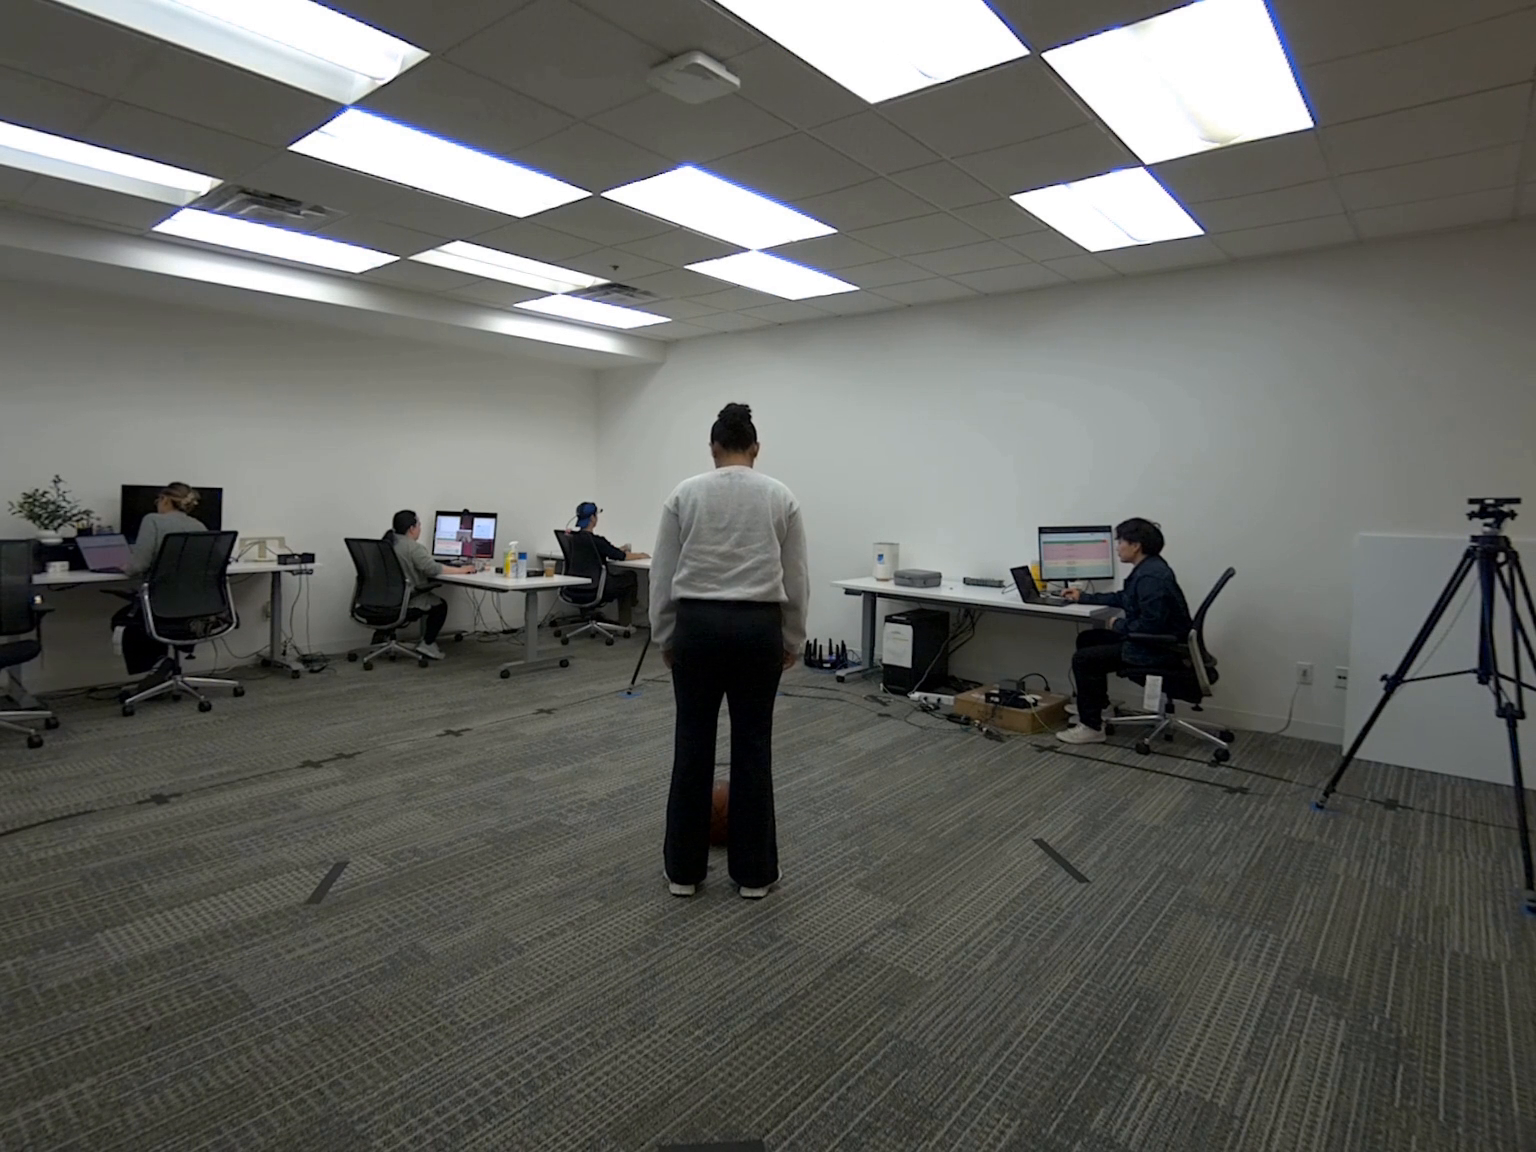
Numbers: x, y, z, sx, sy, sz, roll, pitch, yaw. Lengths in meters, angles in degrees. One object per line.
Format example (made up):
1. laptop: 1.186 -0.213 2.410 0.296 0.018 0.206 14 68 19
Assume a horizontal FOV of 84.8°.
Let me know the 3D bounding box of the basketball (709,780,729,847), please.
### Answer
1. basketball: -0.196 0.917 3.346 0.235 0.235 0.237 1 4 -2
